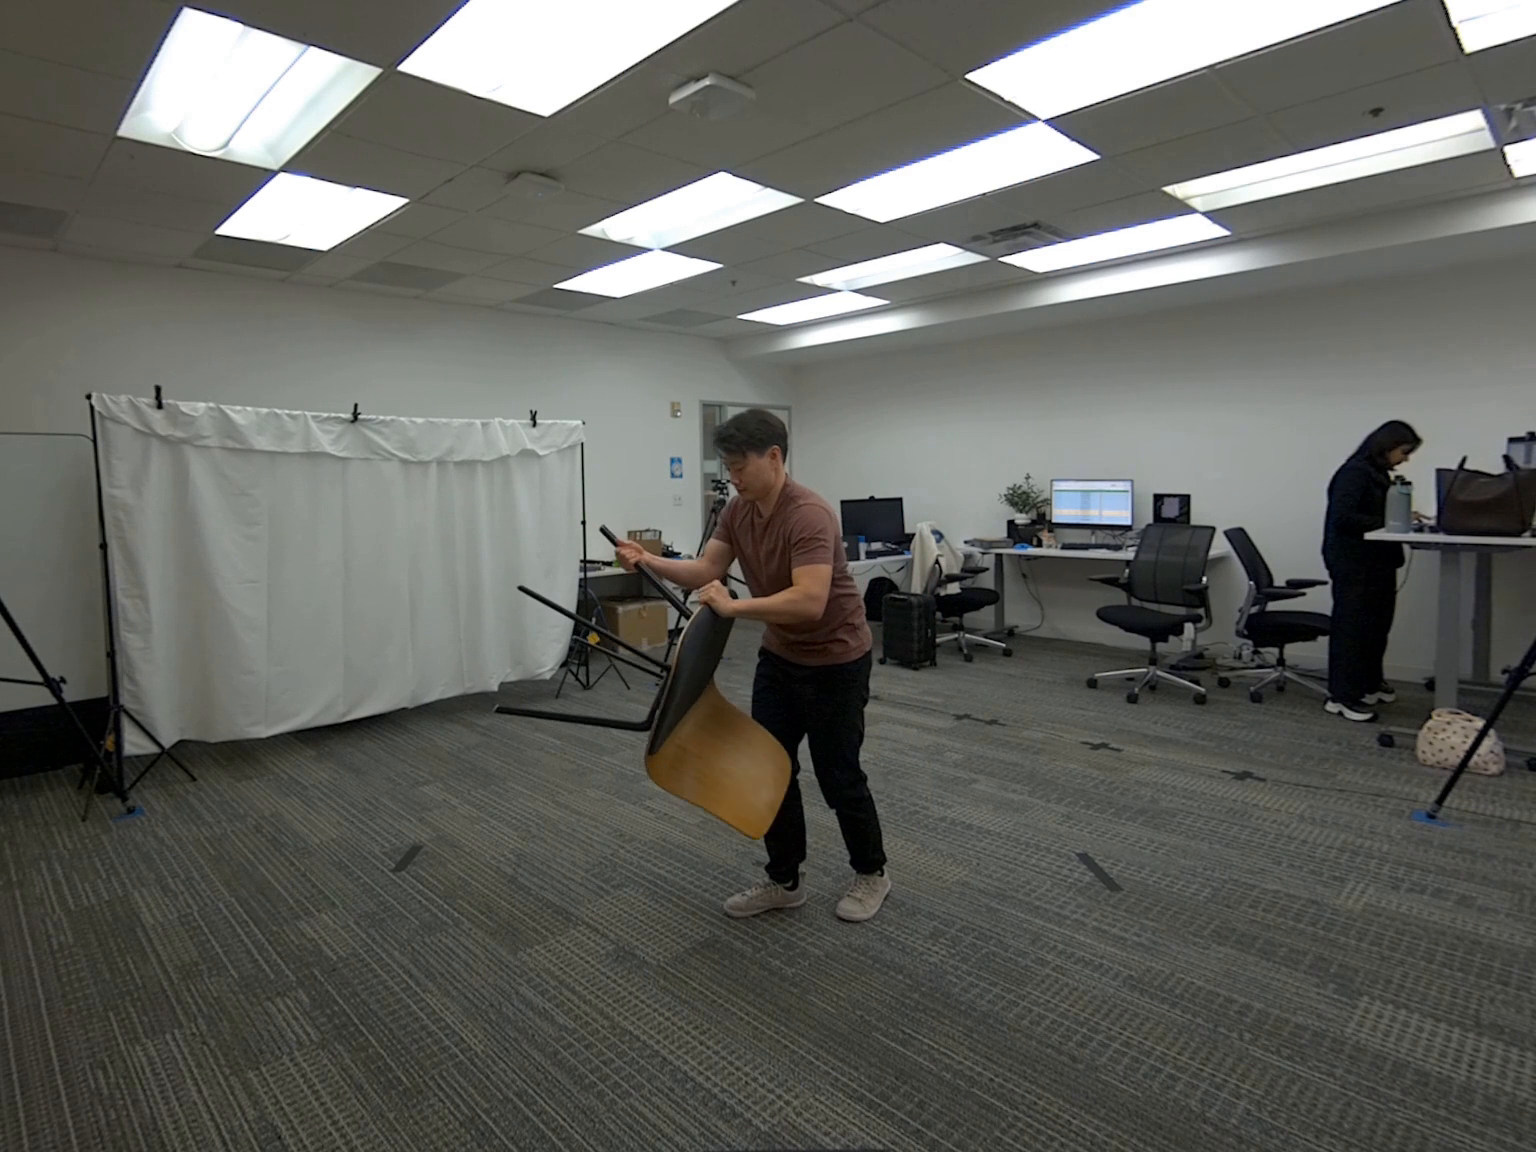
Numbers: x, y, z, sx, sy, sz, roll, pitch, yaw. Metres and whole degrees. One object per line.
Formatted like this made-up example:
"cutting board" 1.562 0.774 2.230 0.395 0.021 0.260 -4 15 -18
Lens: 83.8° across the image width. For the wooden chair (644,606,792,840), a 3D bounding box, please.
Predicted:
"wooden chair" -0.264 0.300 2.442 0.887 0.517 0.478 28 30 8
